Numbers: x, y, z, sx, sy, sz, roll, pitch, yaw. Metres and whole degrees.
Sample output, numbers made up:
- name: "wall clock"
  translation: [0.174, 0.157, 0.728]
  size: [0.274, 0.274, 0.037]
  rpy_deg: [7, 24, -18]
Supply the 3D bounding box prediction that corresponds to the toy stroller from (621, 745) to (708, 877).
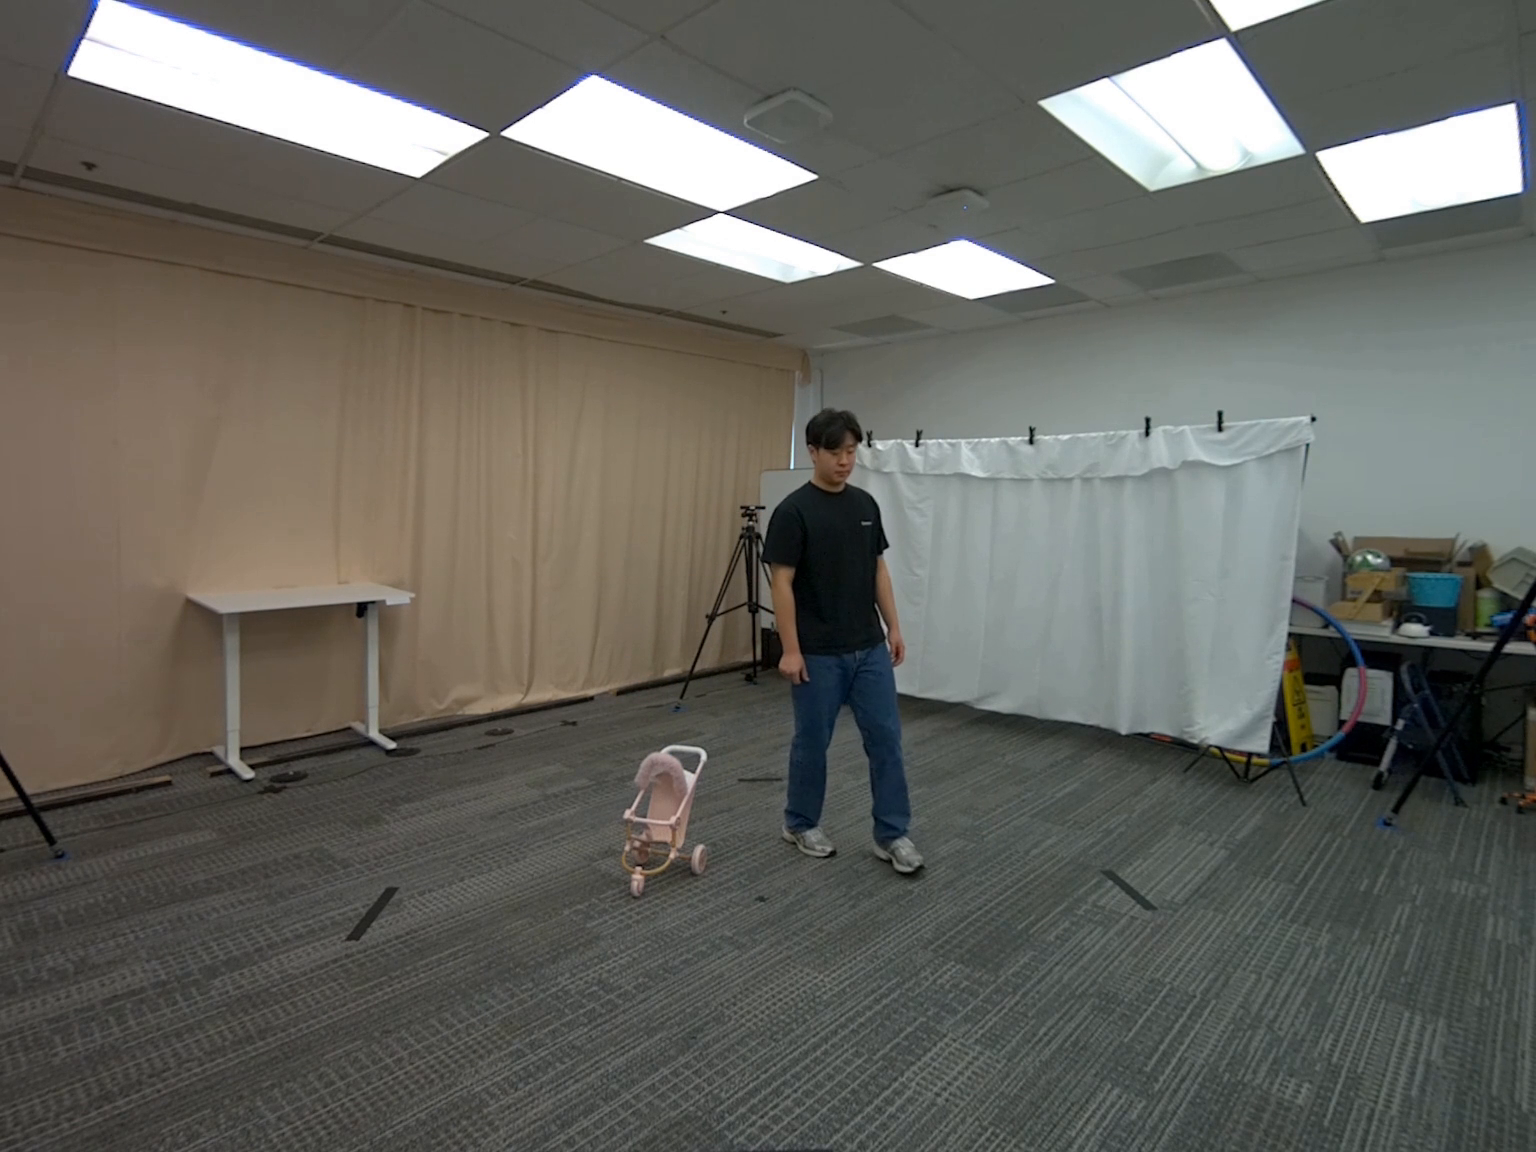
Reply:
- name: "toy stroller"
  translation: [-0.402, 0.906, 3.172]
  size: [0.289, 0.538, 0.330]
  rpy_deg: [0, -13, 26]
